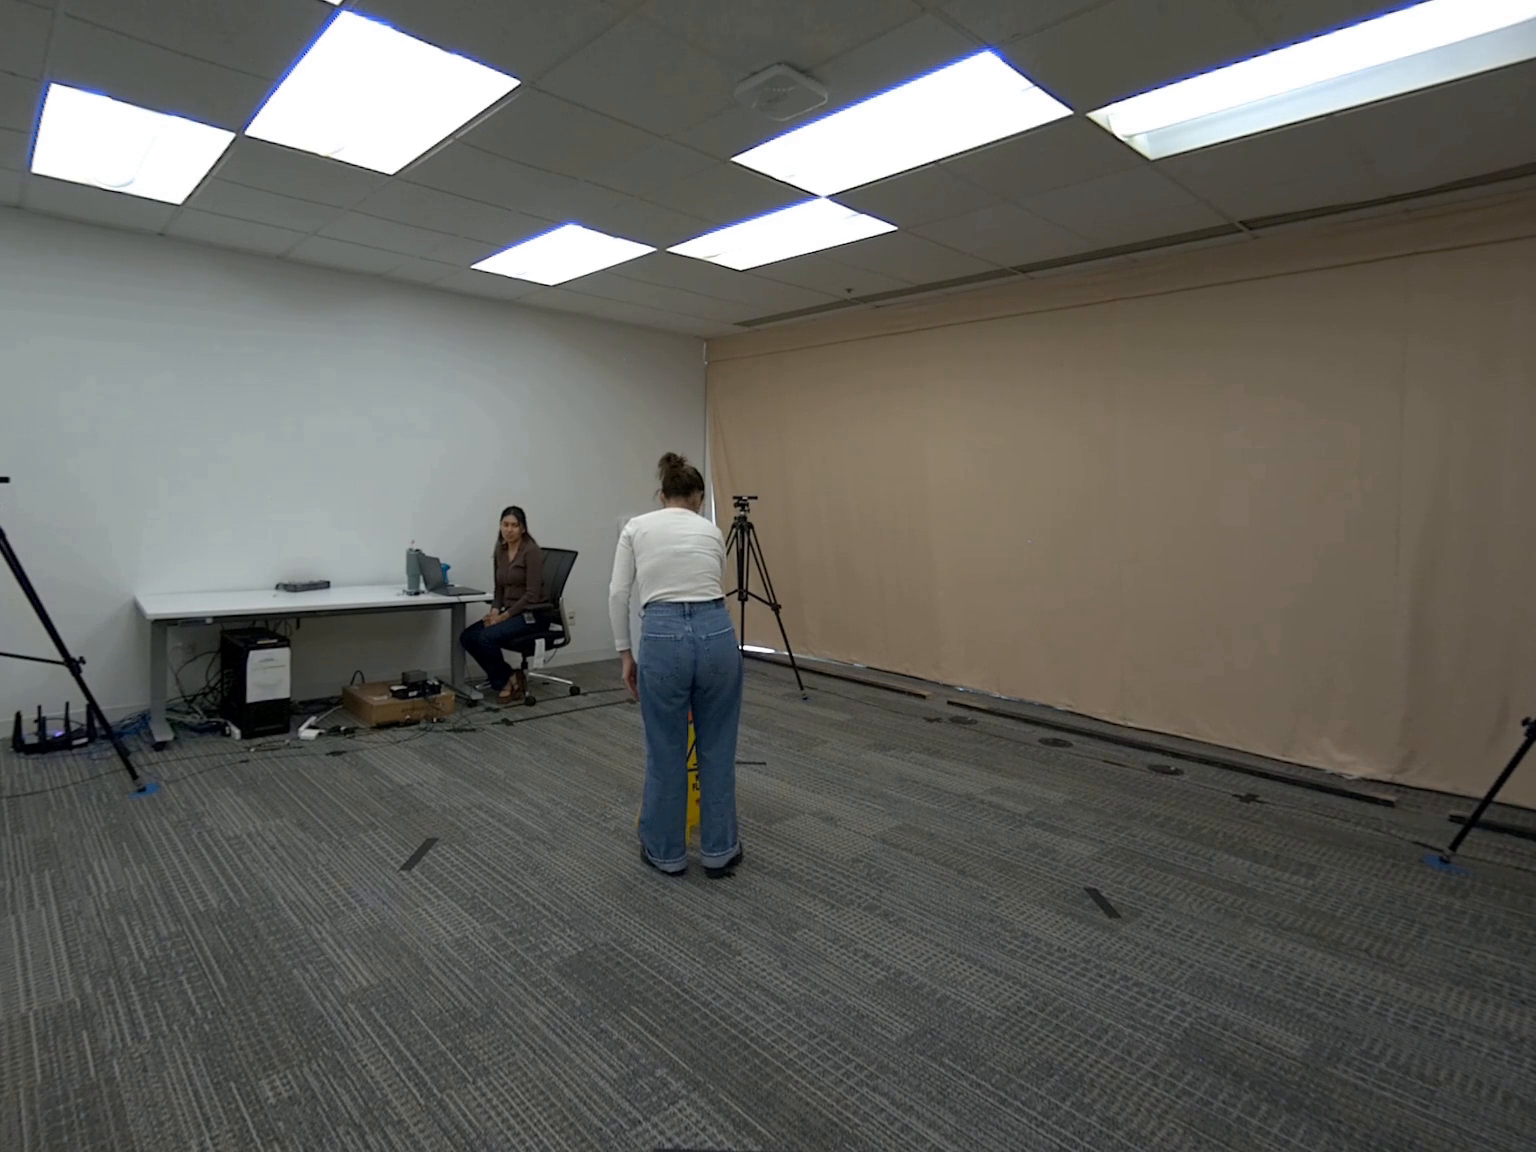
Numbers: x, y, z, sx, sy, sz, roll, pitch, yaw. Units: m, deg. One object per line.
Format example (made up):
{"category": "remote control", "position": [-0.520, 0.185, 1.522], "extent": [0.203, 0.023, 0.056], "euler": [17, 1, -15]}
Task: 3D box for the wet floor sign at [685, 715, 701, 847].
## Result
{"category": "wet floor sign", "position": [-0.324, 0.737, 3.470], "extent": [0.275, 0.645, 0.297], "euler": [3, 3, -40]}
